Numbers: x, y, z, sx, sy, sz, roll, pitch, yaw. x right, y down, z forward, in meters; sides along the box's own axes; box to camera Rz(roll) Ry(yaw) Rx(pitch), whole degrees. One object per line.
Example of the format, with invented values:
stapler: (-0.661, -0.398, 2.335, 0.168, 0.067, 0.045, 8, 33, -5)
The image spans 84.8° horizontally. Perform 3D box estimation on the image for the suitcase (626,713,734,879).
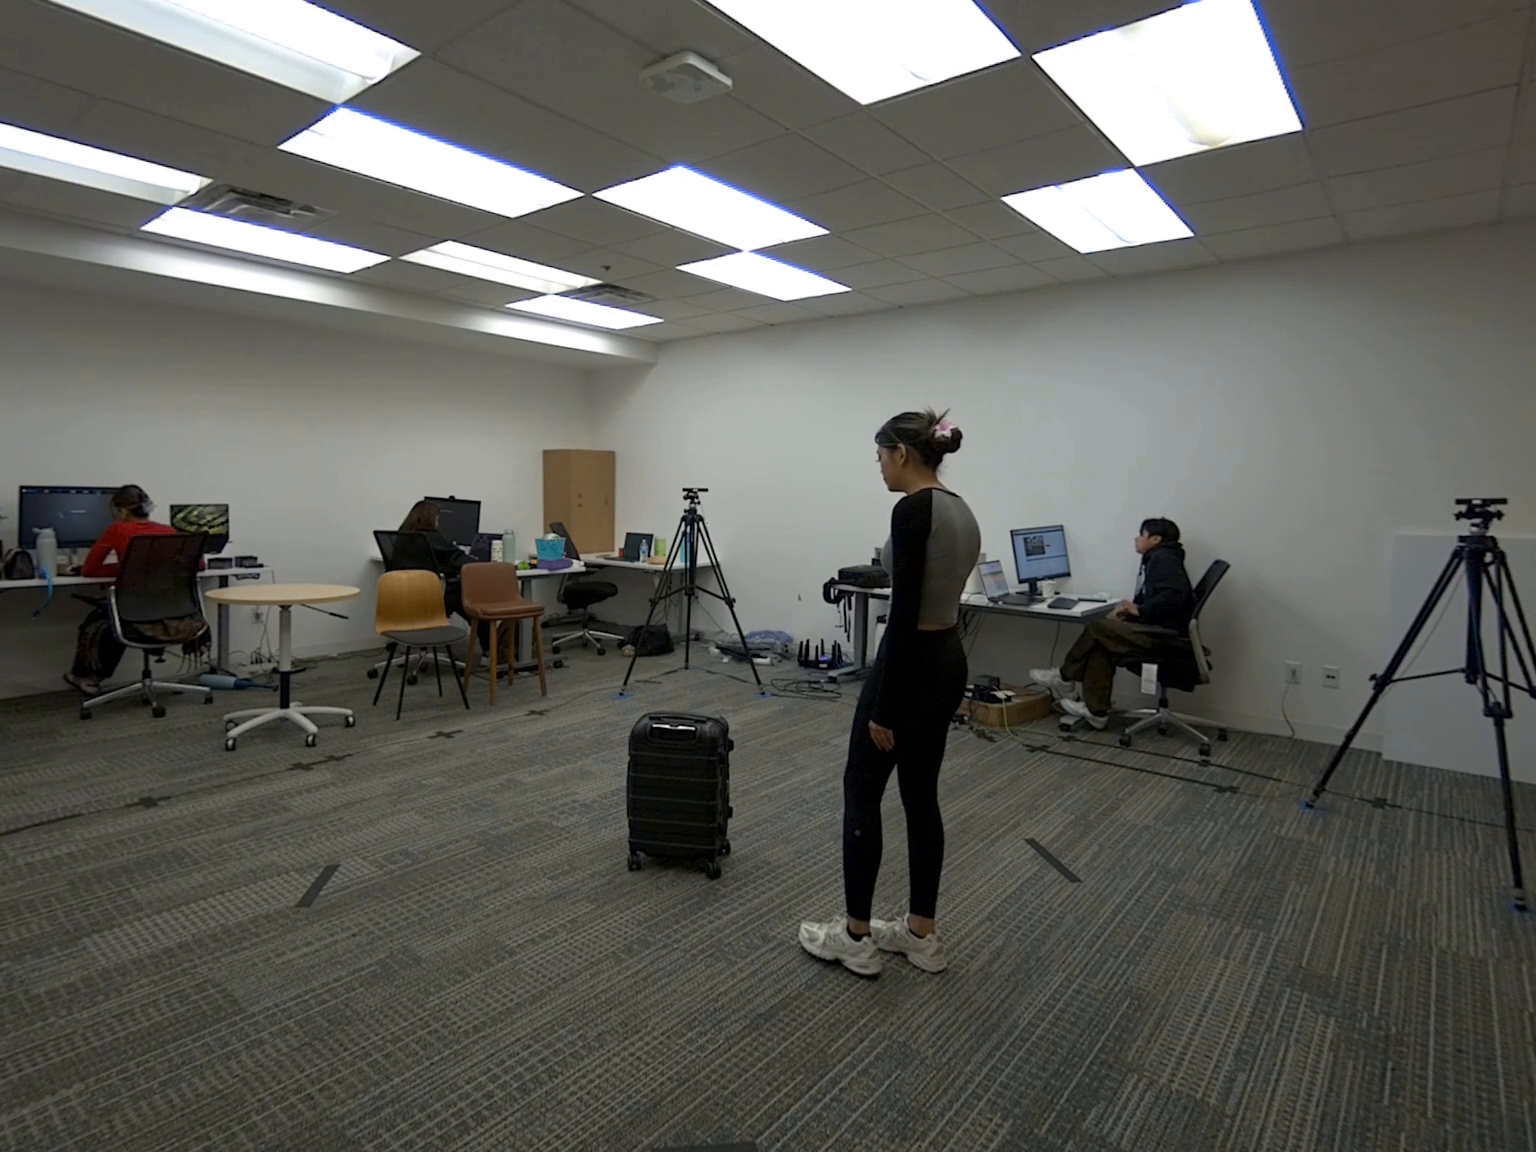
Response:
suitcase: (-0.343, 0.785, 3.186, 0.380, 0.549, 0.245, 1, 1, 12)
